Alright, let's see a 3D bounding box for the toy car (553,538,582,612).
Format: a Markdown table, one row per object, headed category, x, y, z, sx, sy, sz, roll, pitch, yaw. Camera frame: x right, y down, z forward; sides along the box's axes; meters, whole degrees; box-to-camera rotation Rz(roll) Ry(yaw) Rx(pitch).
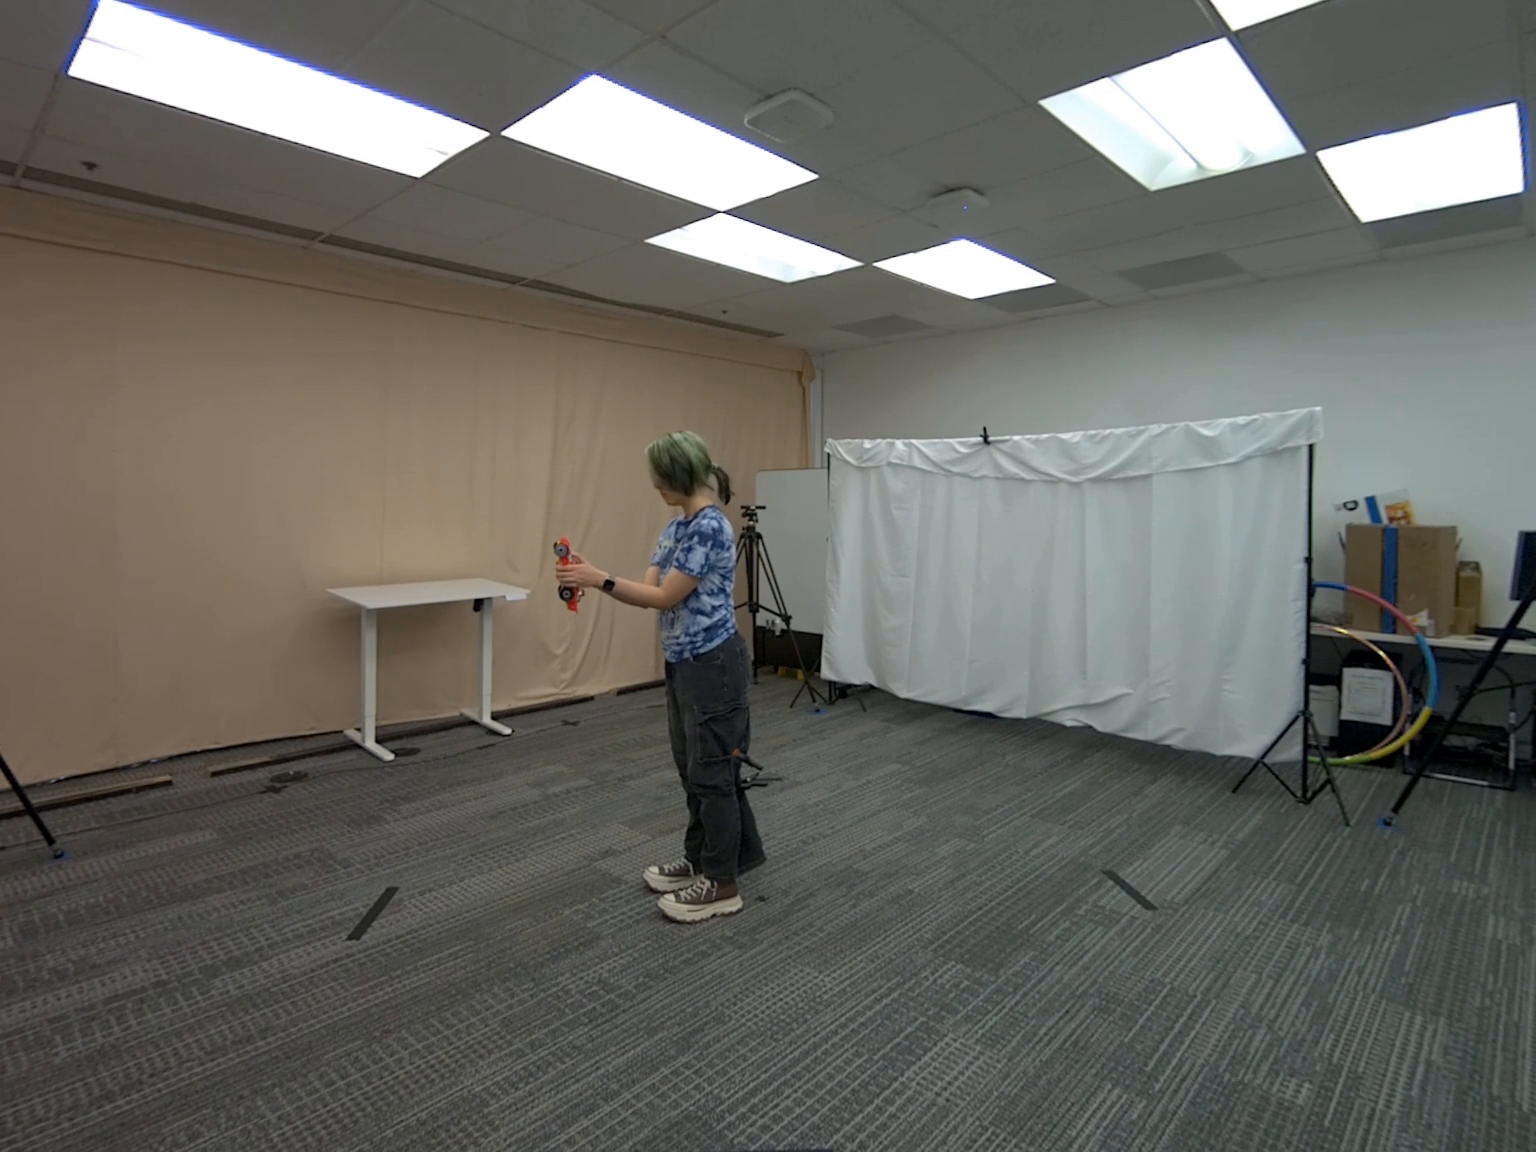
| category | x | y | z | sx | sy | sz | roll | pitch | yaw |
| --- | --- | --- | --- | --- | --- | --- | --- | --- | --- |
| toy car | -0.668 | 0.010 | 2.788 | 0.082 | 0.252 | 0.132 | -18 | 9 | -13 |
